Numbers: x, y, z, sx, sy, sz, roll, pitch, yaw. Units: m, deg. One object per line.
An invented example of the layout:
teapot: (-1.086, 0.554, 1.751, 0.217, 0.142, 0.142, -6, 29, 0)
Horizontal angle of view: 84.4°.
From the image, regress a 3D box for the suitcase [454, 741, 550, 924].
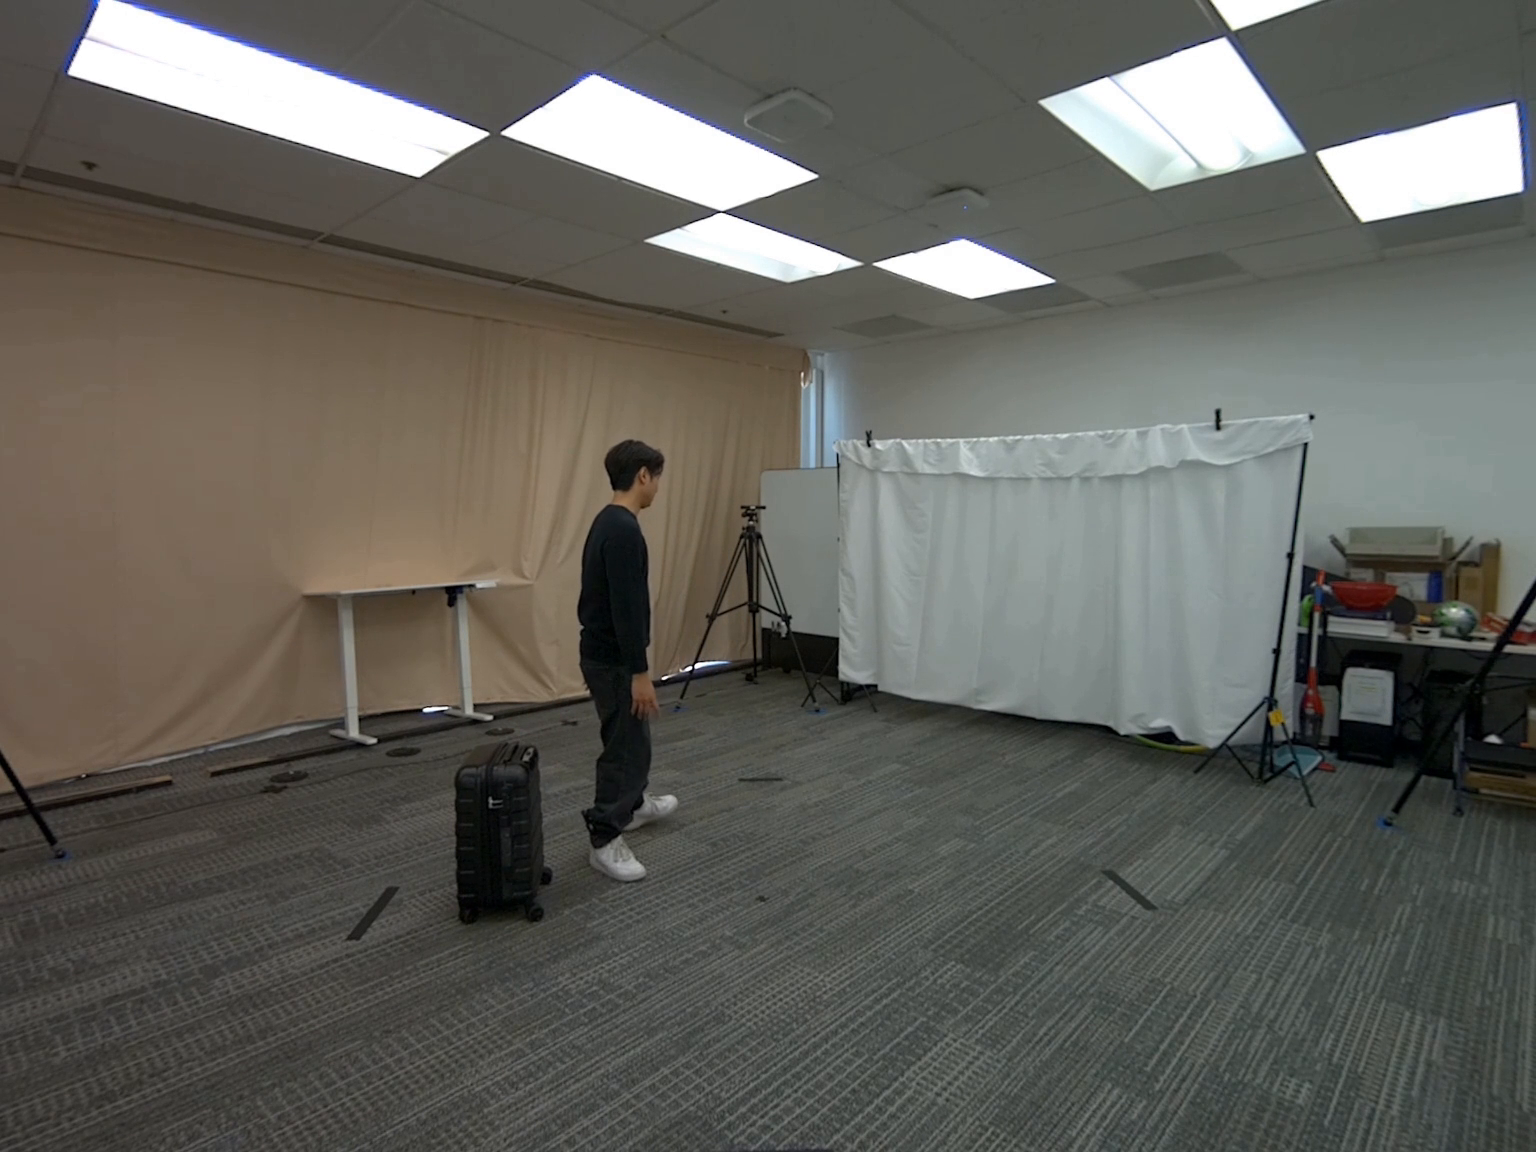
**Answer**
suitcase: (-0.941, 0.878, 2.955, 0.247, 0.548, 0.378, -2, 3, -5)
